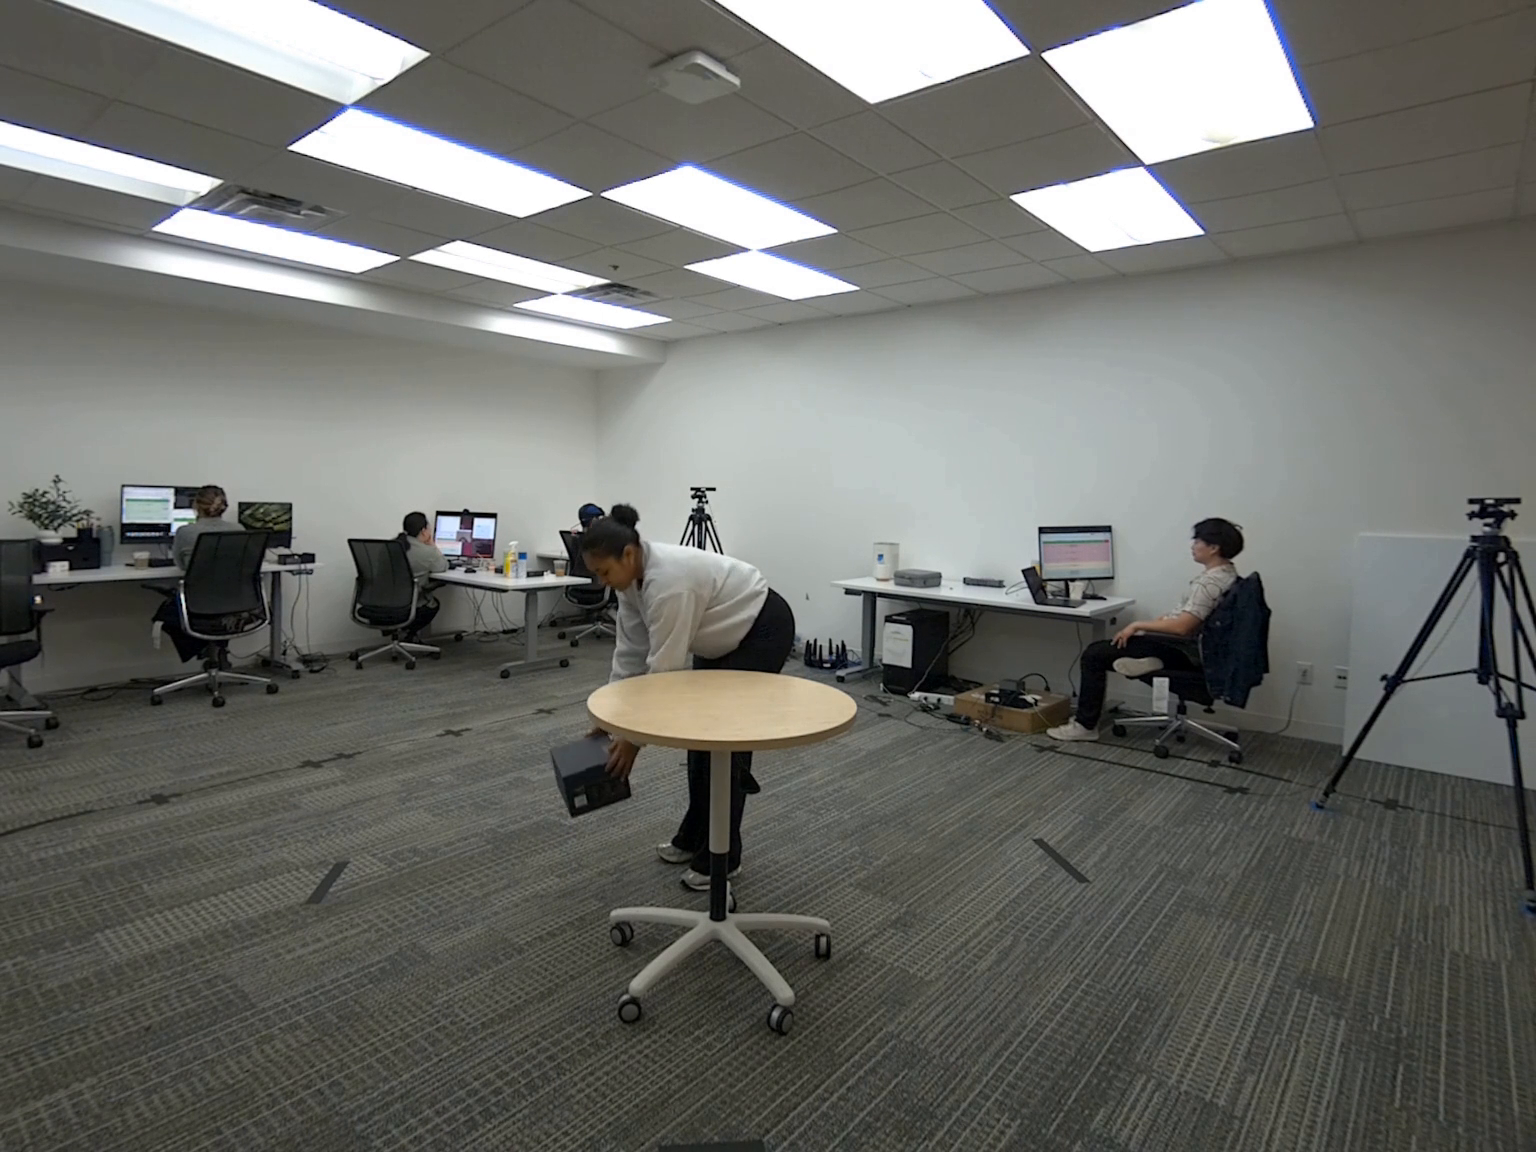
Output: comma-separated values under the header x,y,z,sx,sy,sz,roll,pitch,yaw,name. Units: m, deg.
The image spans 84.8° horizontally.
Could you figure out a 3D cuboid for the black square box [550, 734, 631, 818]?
x,y,z,sx,sy,sz,roll,pitch,yaw,name
-0.628,0.670,2.943,0.214,0.153,0.235,-15,17,-20,black square box
